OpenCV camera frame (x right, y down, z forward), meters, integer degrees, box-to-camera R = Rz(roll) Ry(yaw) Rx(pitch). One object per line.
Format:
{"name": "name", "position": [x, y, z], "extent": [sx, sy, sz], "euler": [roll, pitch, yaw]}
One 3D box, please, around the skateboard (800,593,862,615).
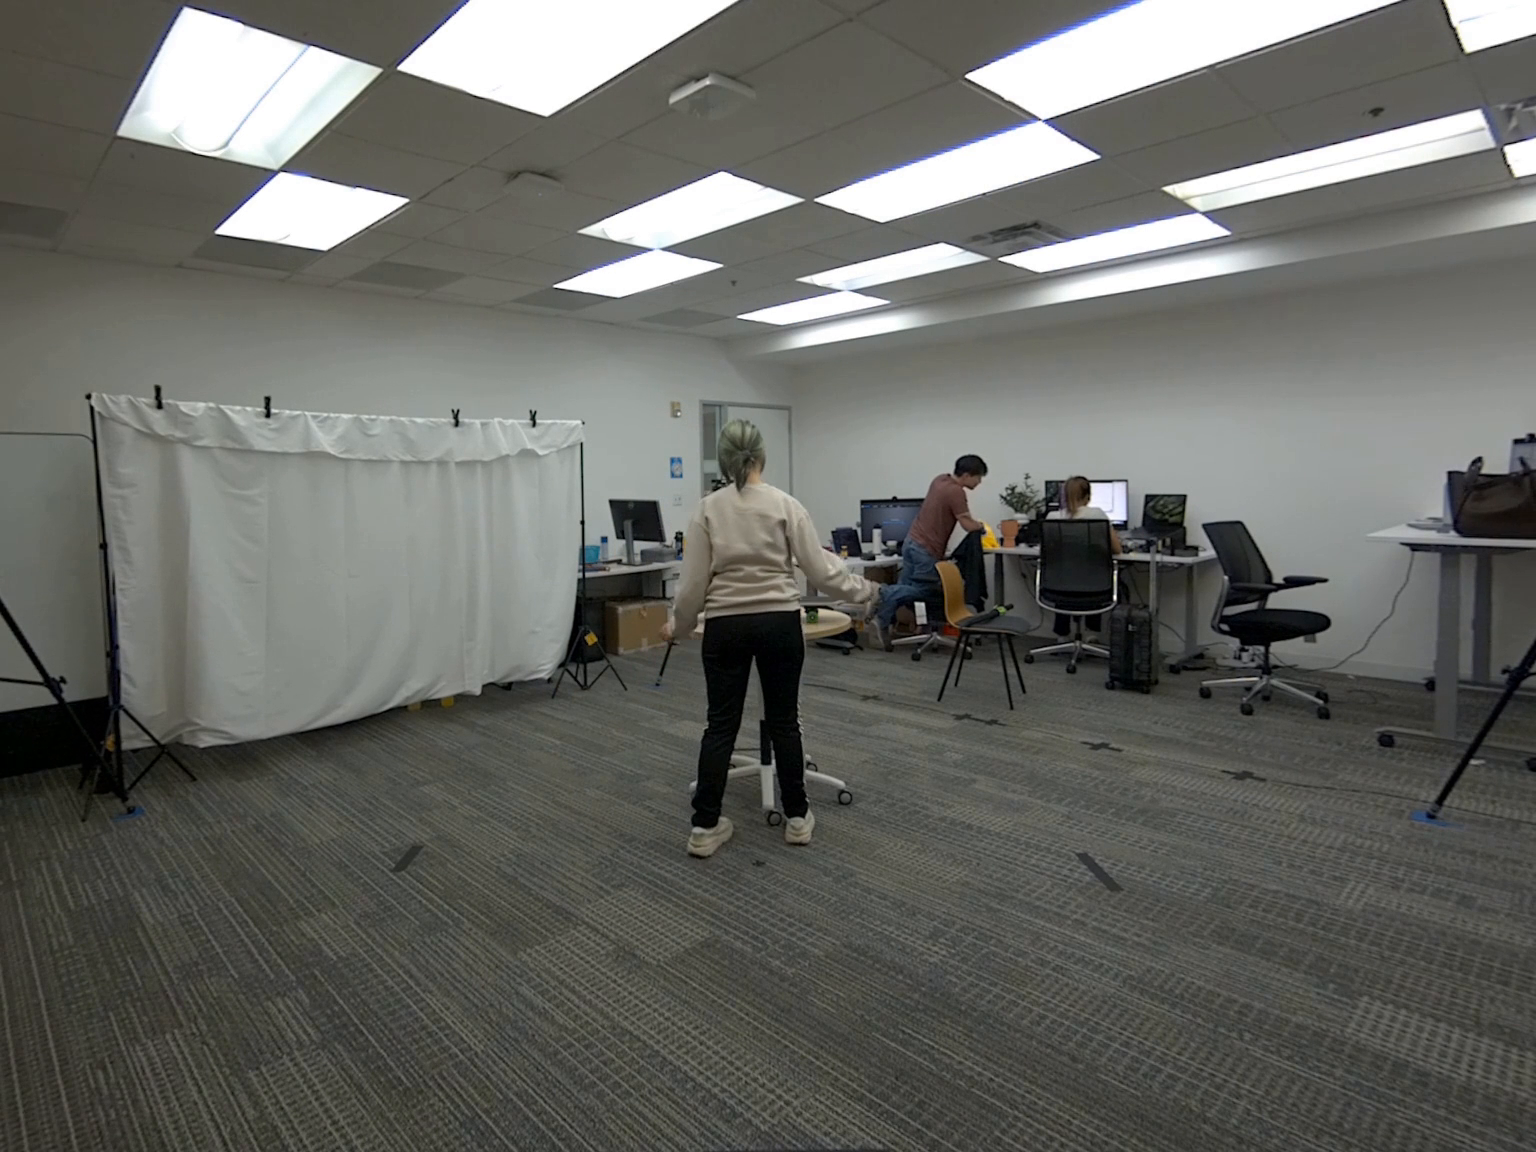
{"name": "skateboard", "position": [-0.005, 0.148, 3.720], "extent": [0.791, 0.110, 0.193], "euler": [0, 6, 7]}
